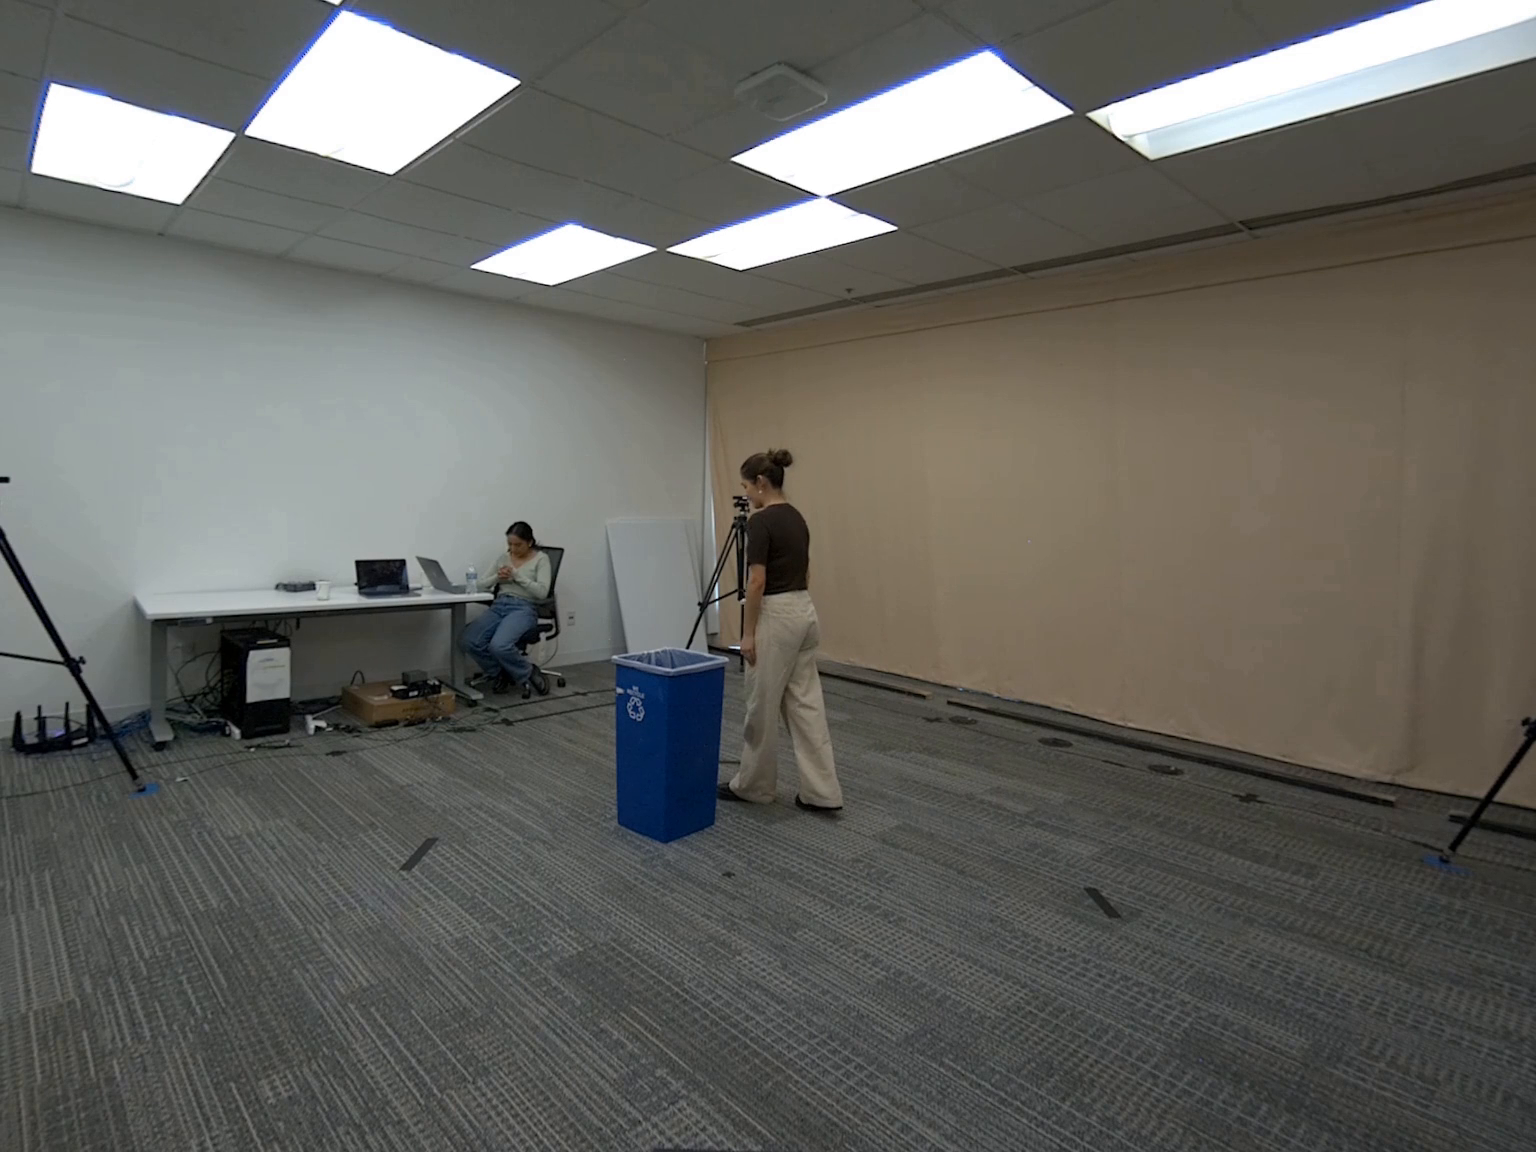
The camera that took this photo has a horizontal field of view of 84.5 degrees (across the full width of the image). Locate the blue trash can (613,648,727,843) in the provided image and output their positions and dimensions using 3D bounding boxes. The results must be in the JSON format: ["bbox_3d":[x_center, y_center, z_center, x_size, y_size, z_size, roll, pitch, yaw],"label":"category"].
[{"bbox_3d":[-0.424,0.697,3.553,0.383,0.712,0.369,4,5,40],"label":"blue trash can"}]
